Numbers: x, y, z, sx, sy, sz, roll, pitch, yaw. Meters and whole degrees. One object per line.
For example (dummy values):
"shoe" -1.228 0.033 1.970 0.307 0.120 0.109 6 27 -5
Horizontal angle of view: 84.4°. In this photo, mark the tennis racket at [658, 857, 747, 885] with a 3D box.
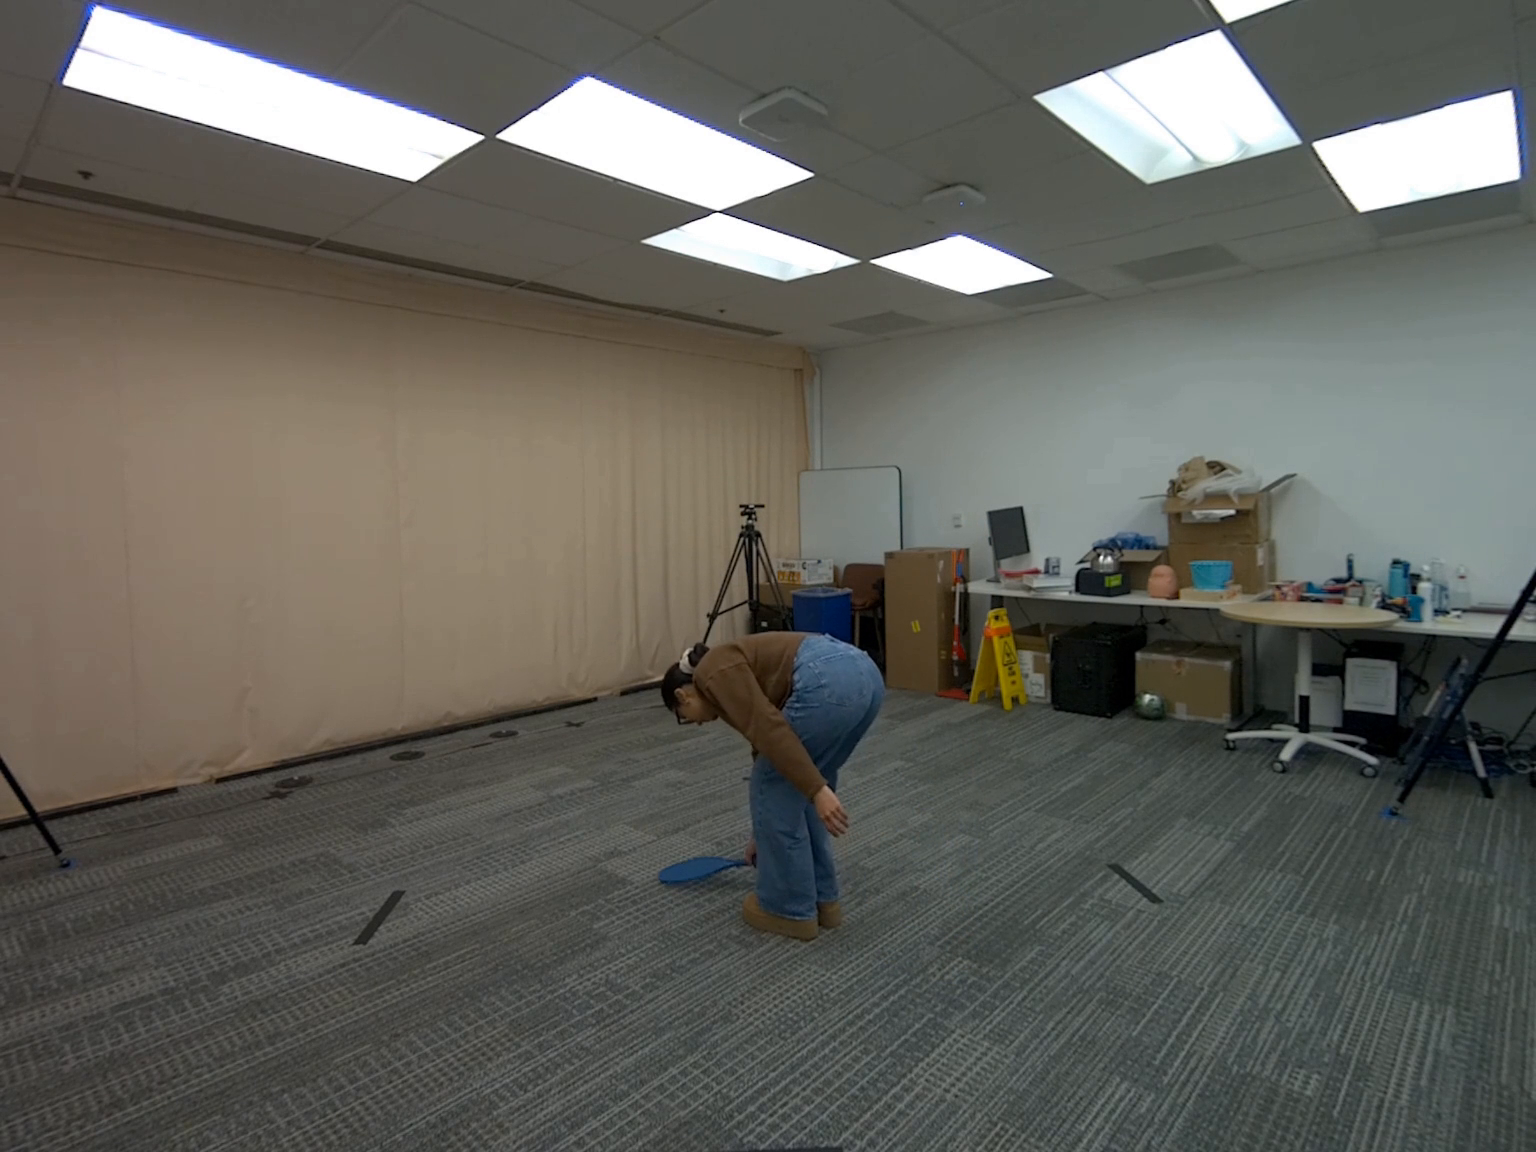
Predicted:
"tennis racket" -0.195 1.074 3.126 0.439 0.032 0.210 -12 1 16
